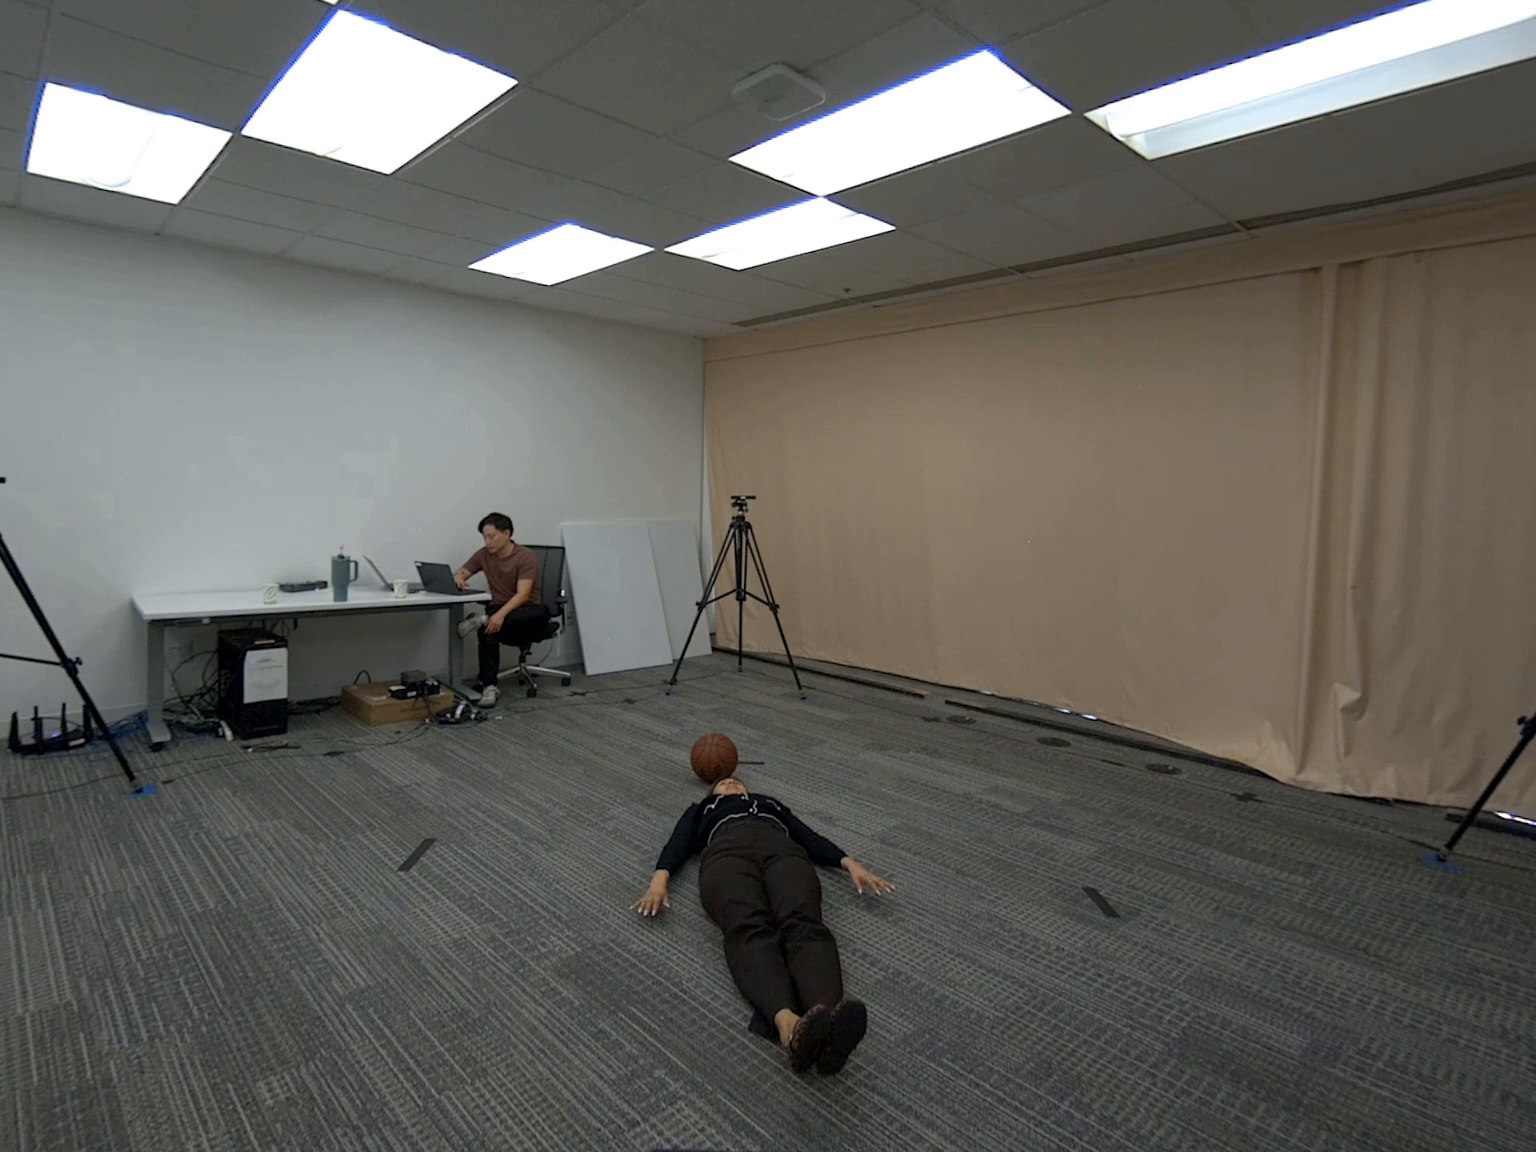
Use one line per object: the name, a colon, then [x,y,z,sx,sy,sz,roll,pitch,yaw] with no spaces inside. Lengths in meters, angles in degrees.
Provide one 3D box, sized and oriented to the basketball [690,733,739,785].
basketball: [-0.277,0.889,4.134,0.236,0.235,0.237,1,4,-1]
